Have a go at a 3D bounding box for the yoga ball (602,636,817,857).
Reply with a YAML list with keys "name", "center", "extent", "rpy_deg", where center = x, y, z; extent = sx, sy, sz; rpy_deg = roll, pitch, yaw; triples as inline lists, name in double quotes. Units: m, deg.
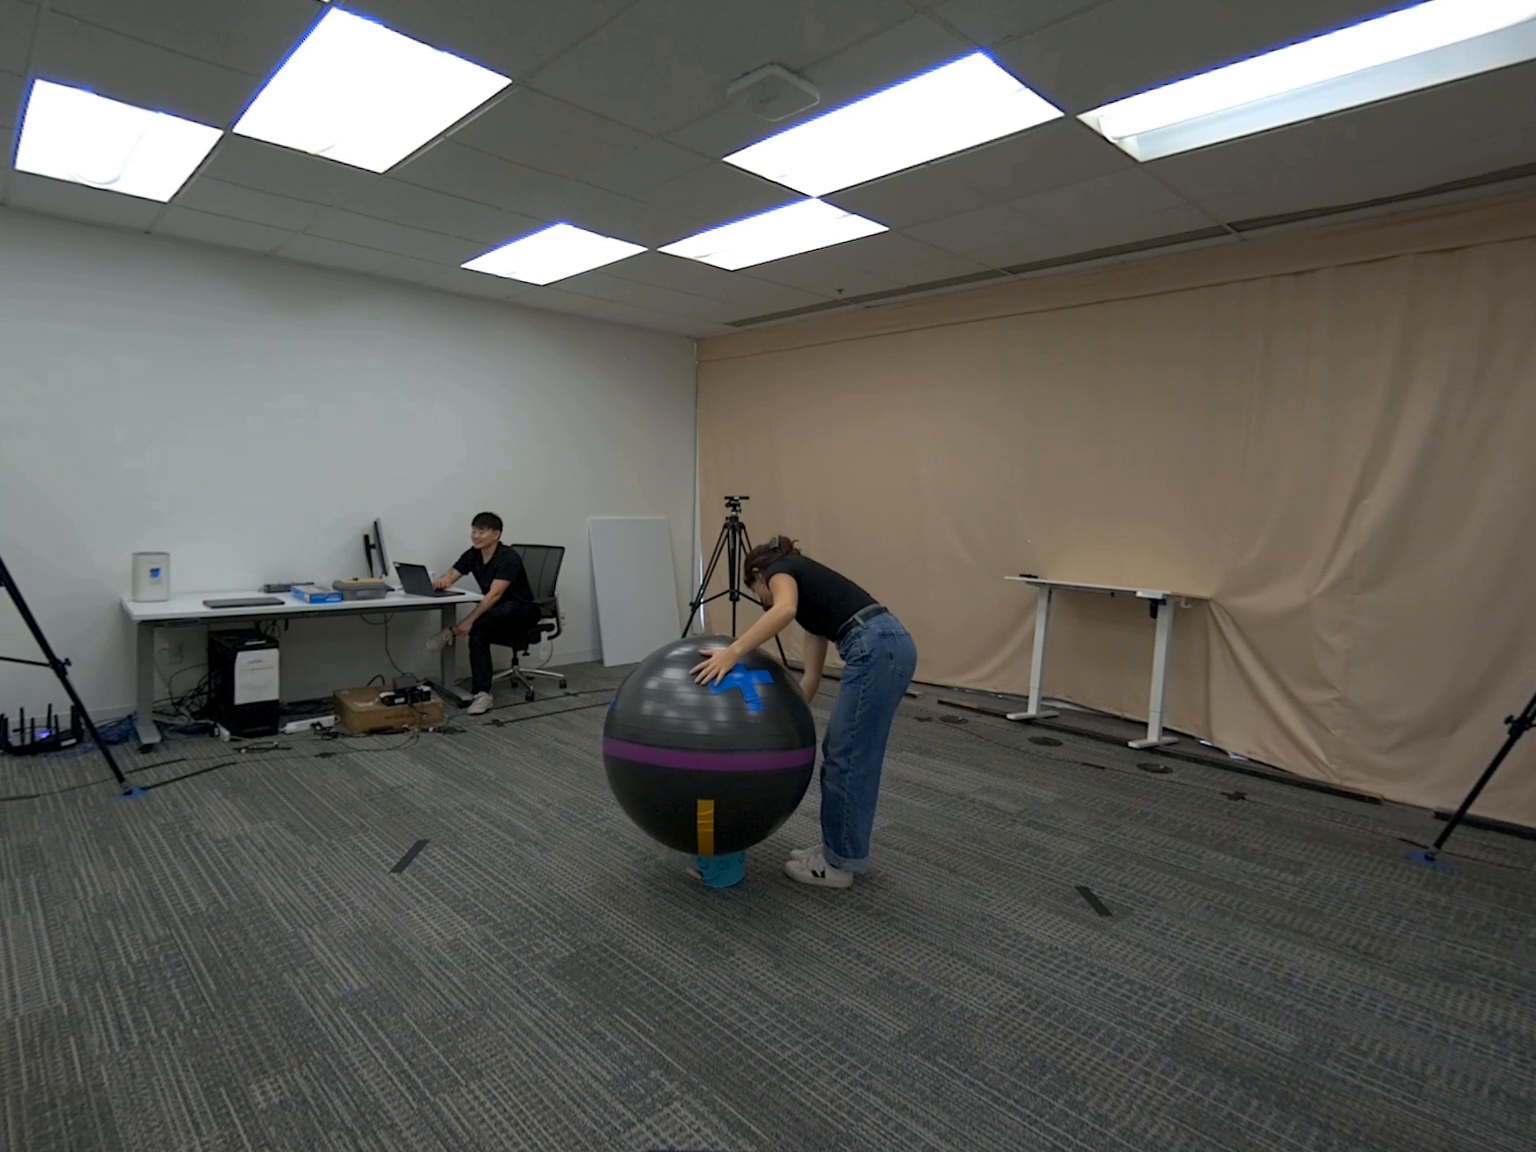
- name: "yoga ball"
  center: [-0.215, 0.599, 2.996]
  extent: [0.757, 0.756, 0.760]
  rpy_deg: [1, 4, -1]
